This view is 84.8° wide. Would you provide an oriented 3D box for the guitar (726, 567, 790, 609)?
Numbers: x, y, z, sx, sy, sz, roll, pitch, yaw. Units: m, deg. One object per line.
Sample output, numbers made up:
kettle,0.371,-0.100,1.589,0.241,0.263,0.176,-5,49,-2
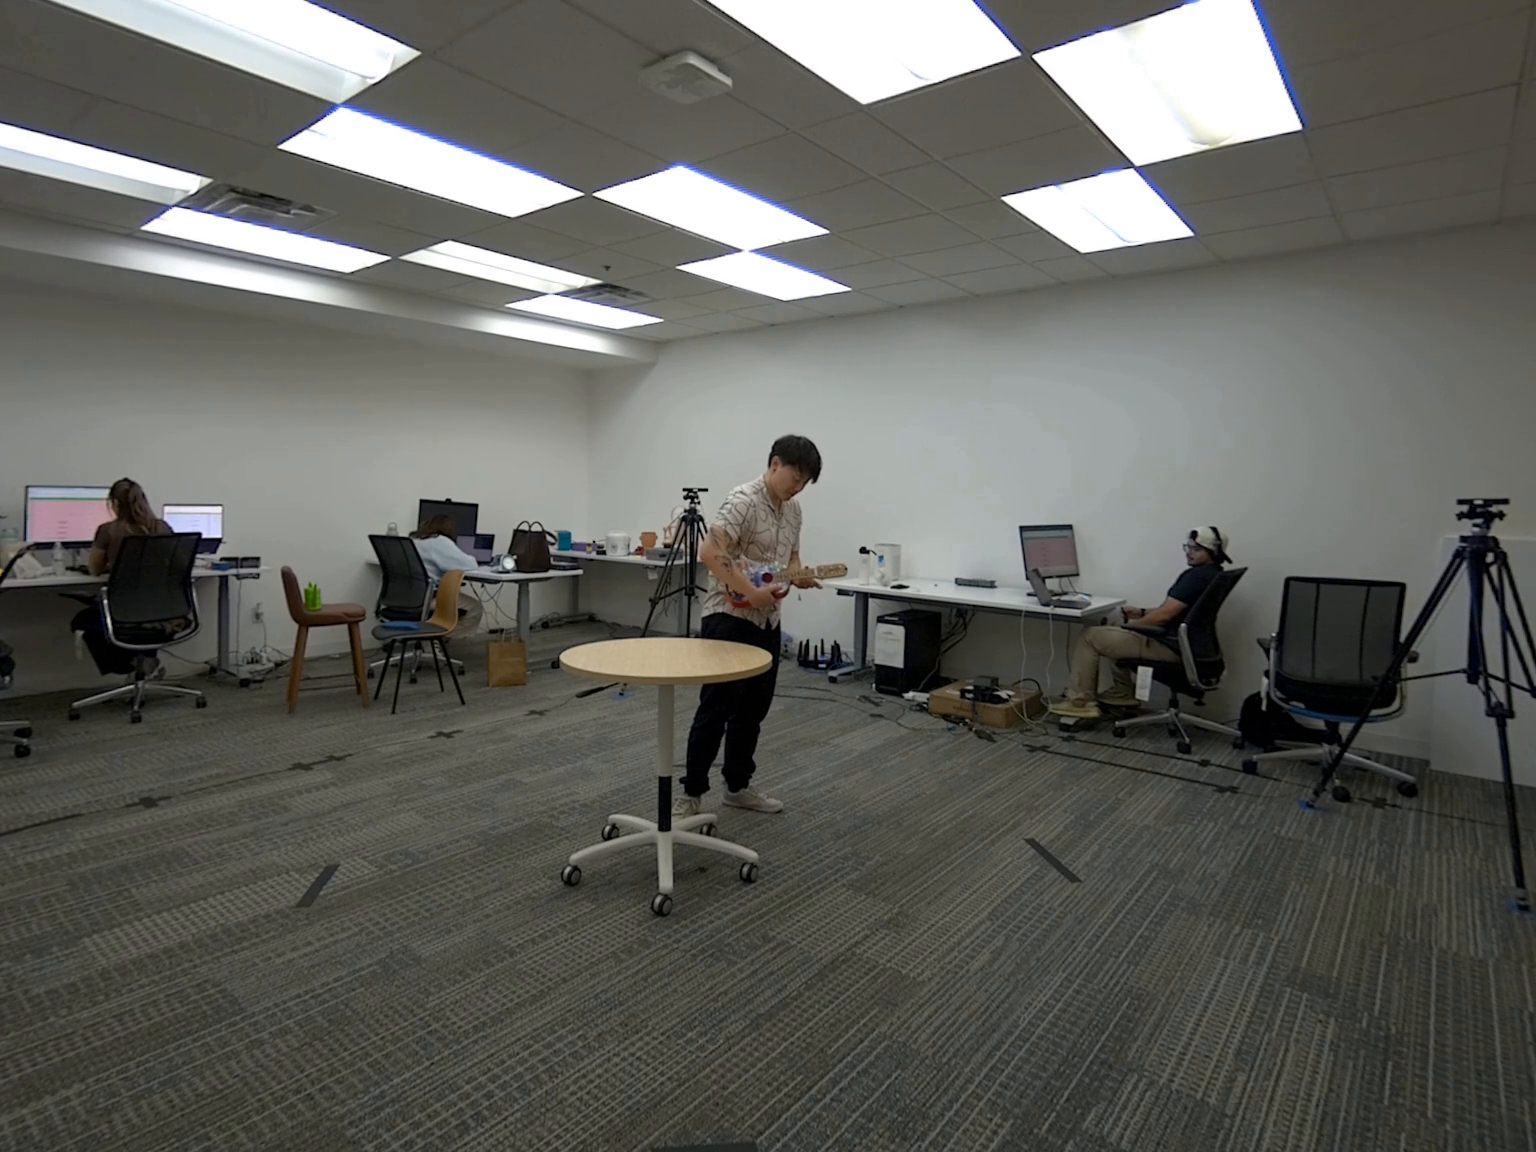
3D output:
guitar,0.099,0.020,3.451,0.500,0.197,0.069,0,-24,4
